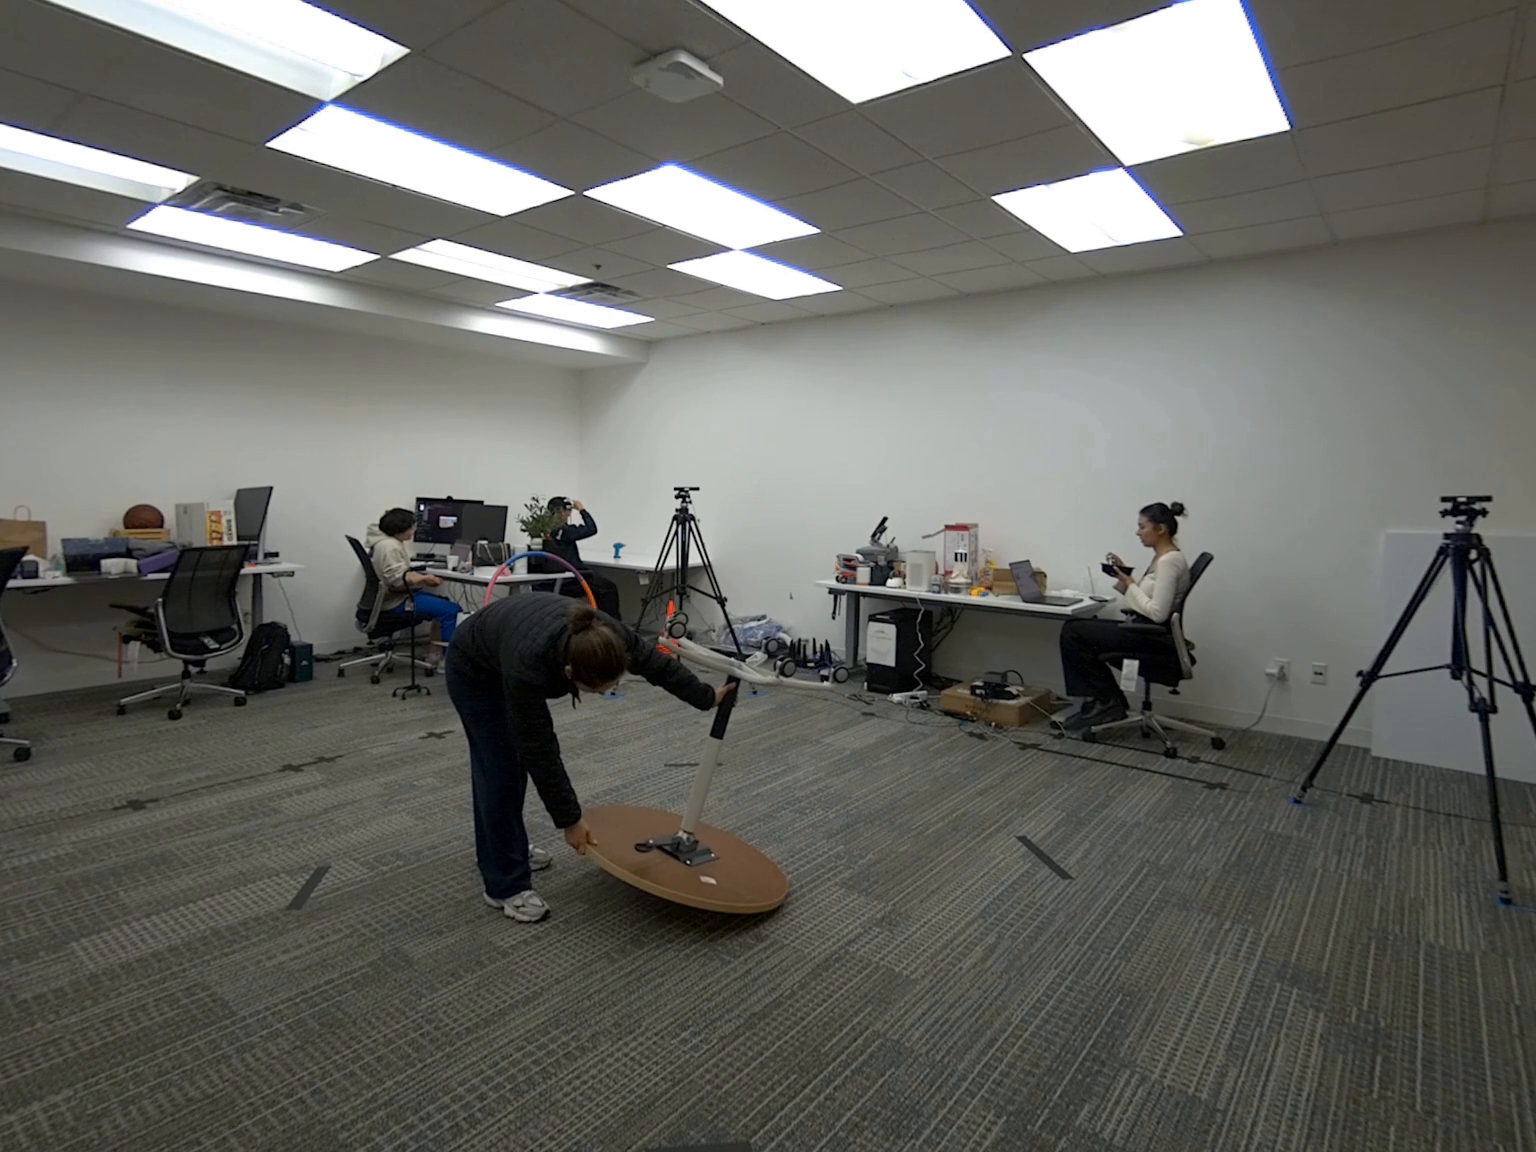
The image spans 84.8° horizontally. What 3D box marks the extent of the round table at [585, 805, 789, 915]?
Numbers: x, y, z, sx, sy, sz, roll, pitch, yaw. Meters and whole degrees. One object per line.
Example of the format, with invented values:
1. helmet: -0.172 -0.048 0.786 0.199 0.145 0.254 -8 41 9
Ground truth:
1. round table: -0.180 0.589 2.974 0.785 0.788 0.784 16 -2 -1
